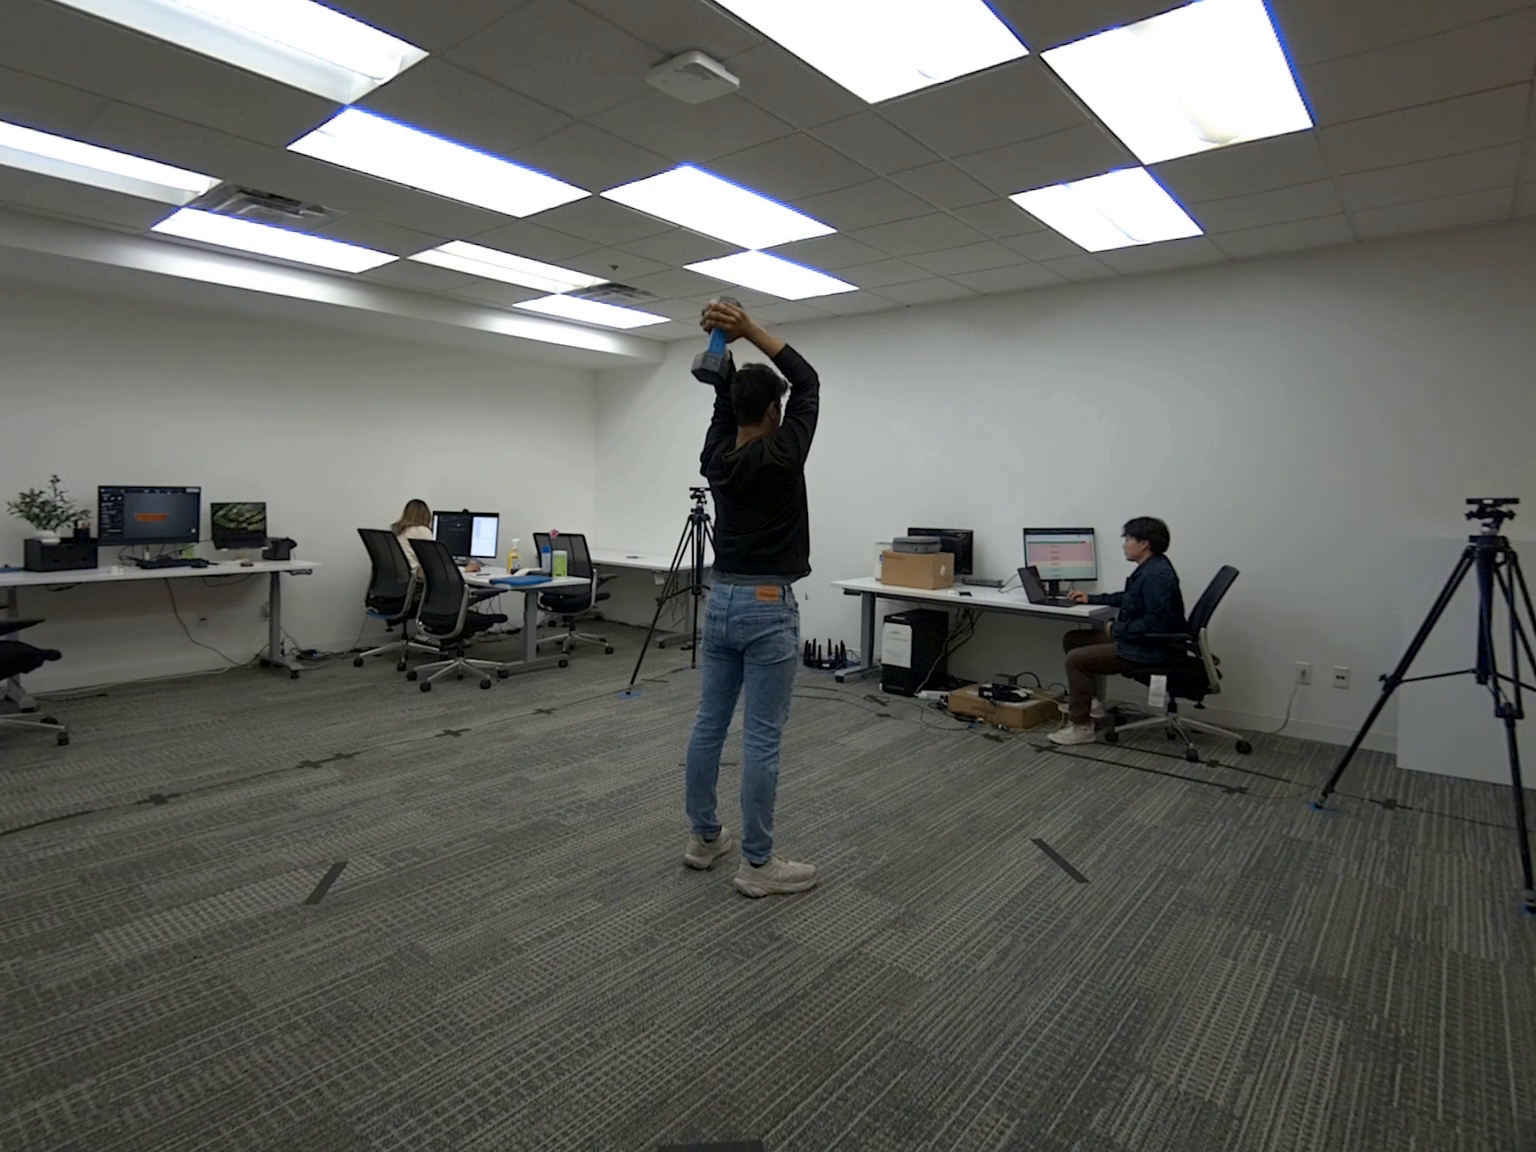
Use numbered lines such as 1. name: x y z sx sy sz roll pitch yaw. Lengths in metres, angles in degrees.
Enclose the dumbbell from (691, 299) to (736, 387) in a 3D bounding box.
1. dumbbell: -0.175 -0.791 2.899 0.105 0.296 0.126 22 -15 -32
